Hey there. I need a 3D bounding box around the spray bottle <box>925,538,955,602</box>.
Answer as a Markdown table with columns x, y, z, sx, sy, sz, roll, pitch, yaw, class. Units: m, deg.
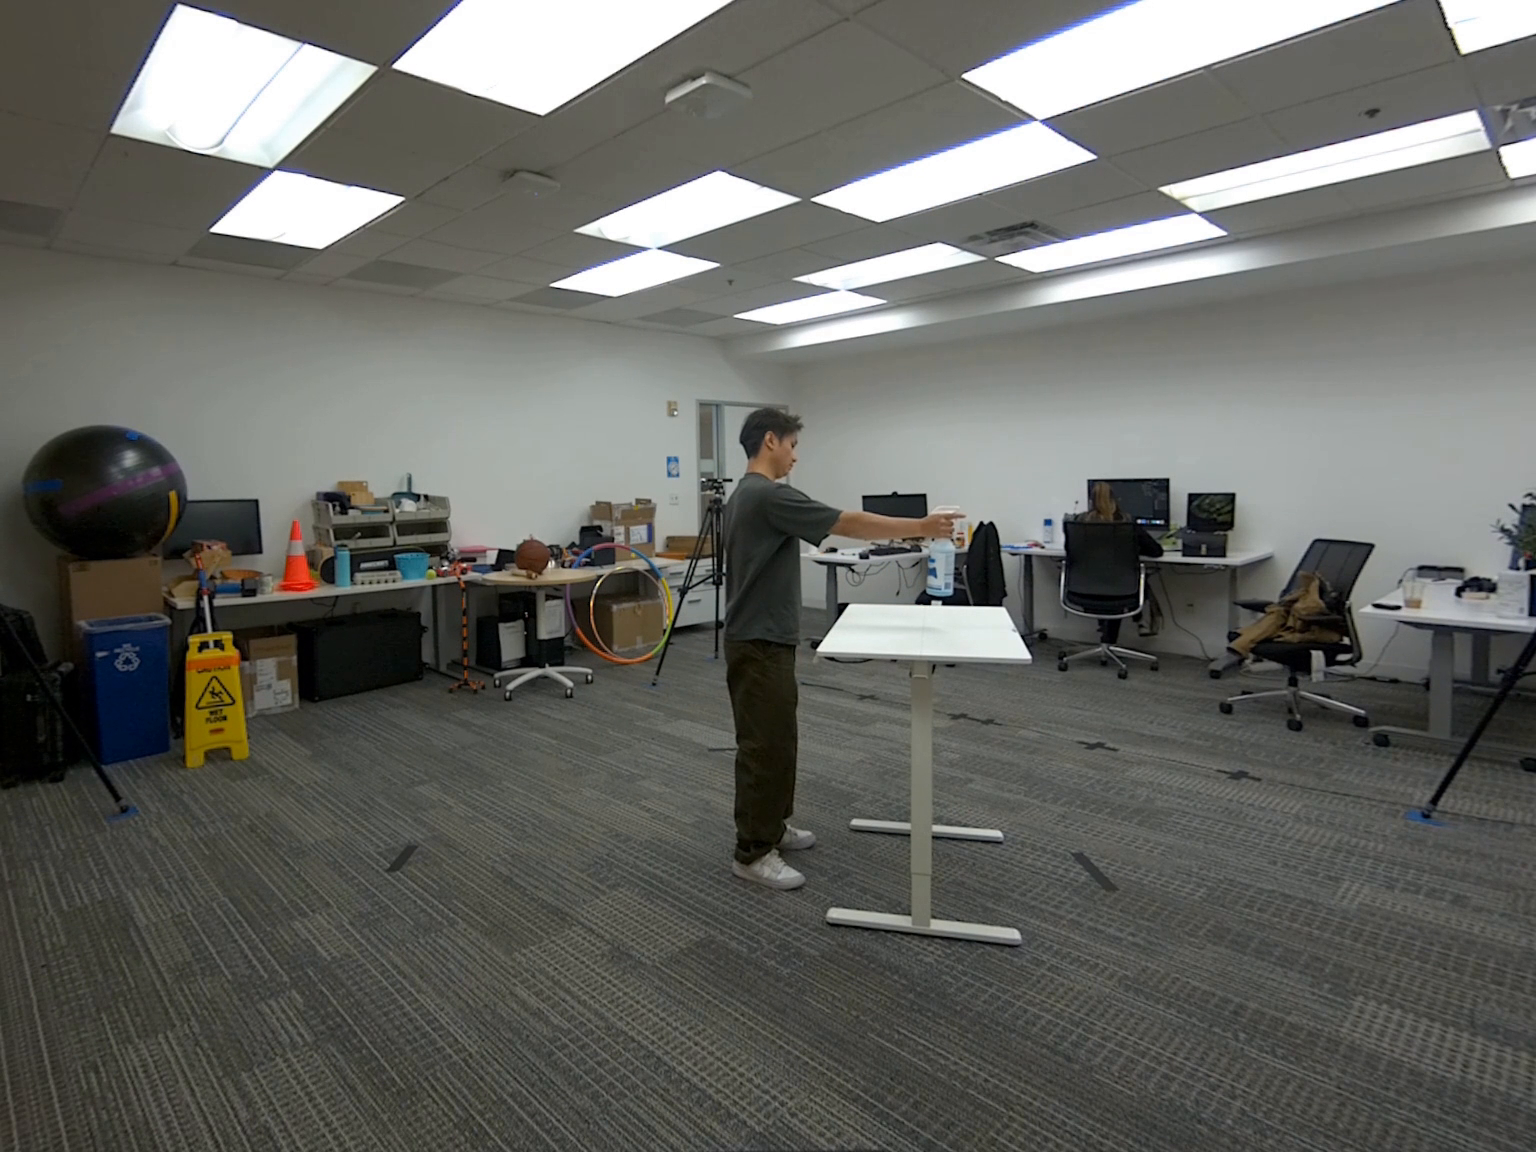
| x | y | z | sx | sy | sz | roll | pitch | yaw | class |
| --- | --- | --- | --- | --- | --- | --- | --- | --- | --- |
| 0.582 | -0.083 | 2.848 | 0.093 | 0.296 | 0.085 | 4 | 4 | 37 | spray bottle |
